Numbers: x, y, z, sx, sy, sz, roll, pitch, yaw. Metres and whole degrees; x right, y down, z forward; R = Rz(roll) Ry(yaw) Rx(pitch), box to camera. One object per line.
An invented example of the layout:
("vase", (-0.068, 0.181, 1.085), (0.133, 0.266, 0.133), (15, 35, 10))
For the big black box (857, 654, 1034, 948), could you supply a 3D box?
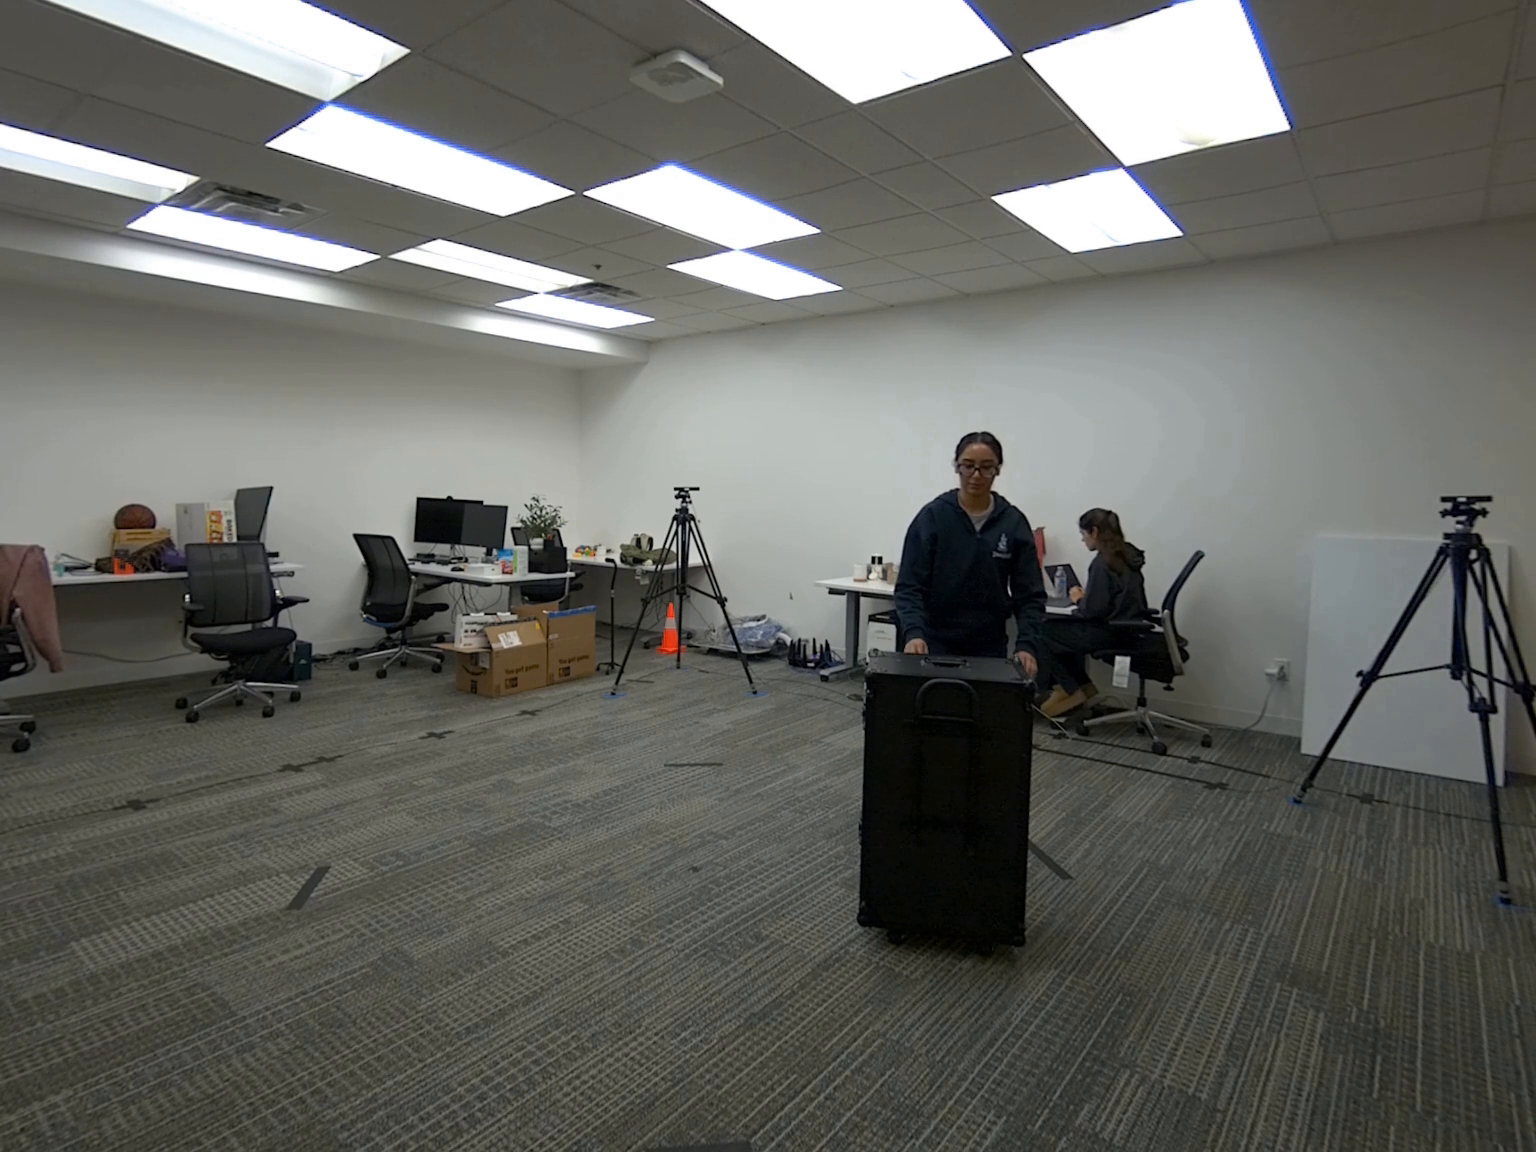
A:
("big black box", (0.543, 0.698, 2.674), (0.529, 0.858, 0.392), (1, 4, 12))
